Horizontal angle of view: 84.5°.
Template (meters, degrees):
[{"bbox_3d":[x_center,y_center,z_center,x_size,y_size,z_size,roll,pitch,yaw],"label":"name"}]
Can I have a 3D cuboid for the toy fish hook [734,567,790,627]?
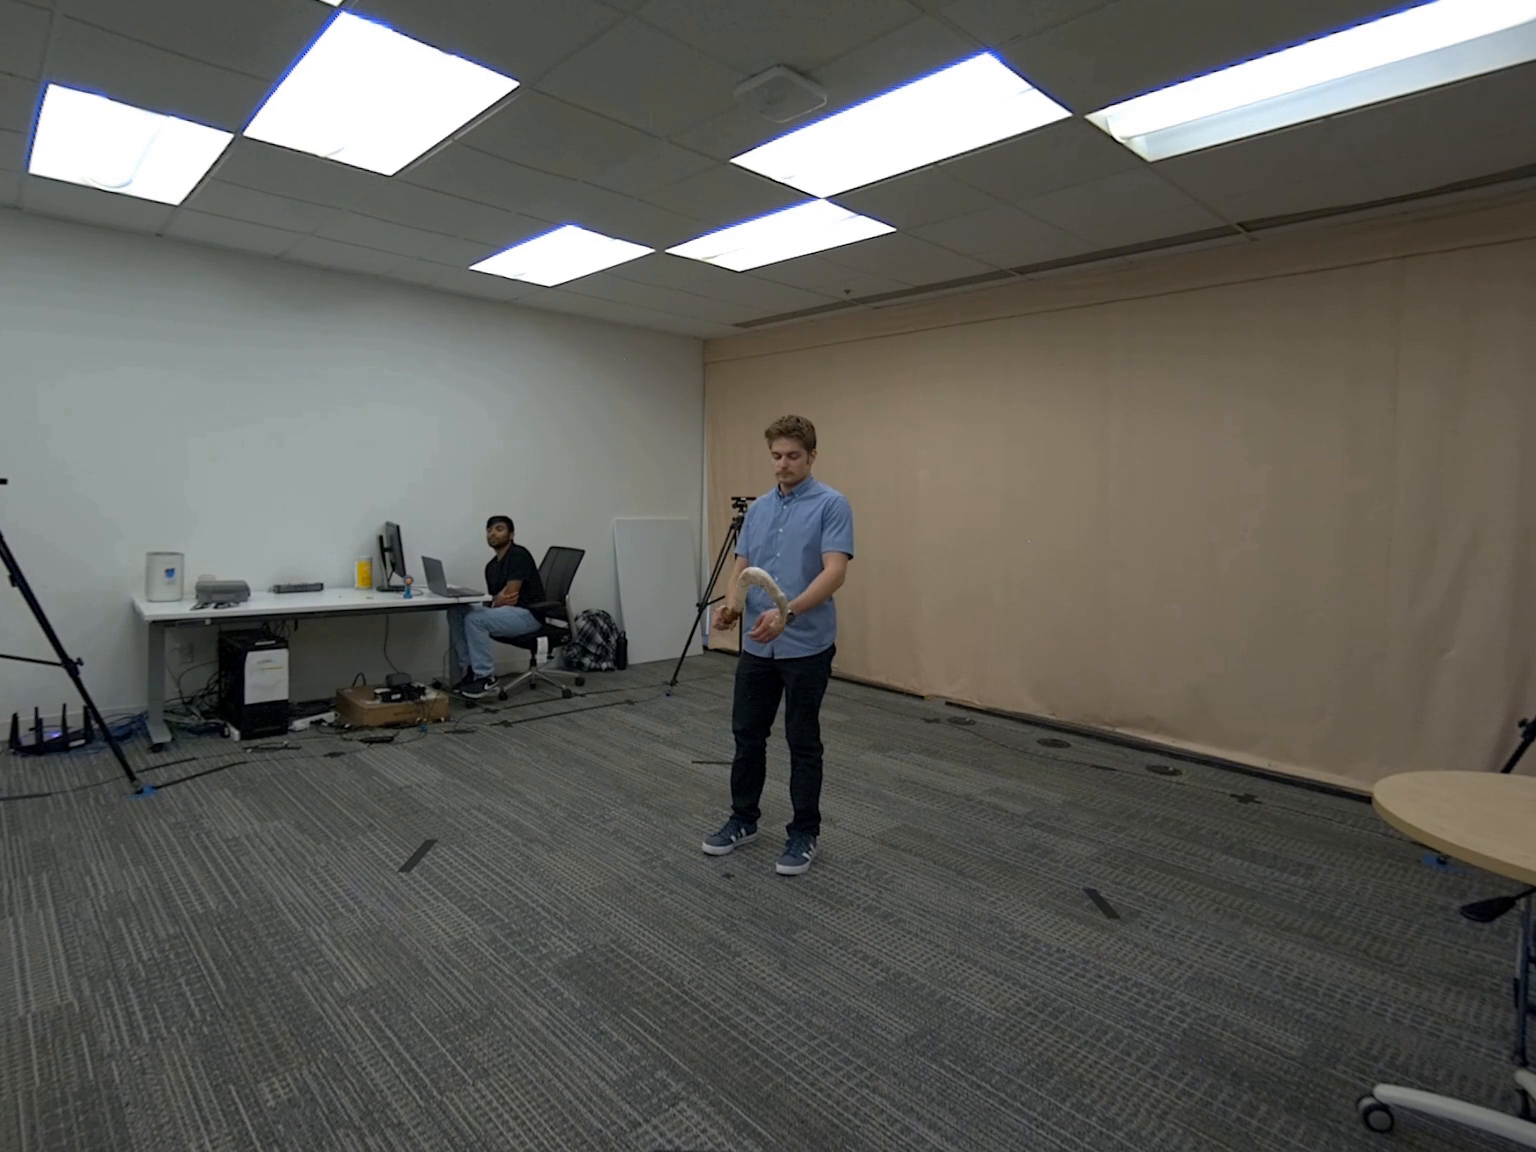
[{"bbox_3d":[-0.074,0.128,2.917,0.048,0.227,0.505,-29,-11,-28],"label":"toy fish hook"}]
